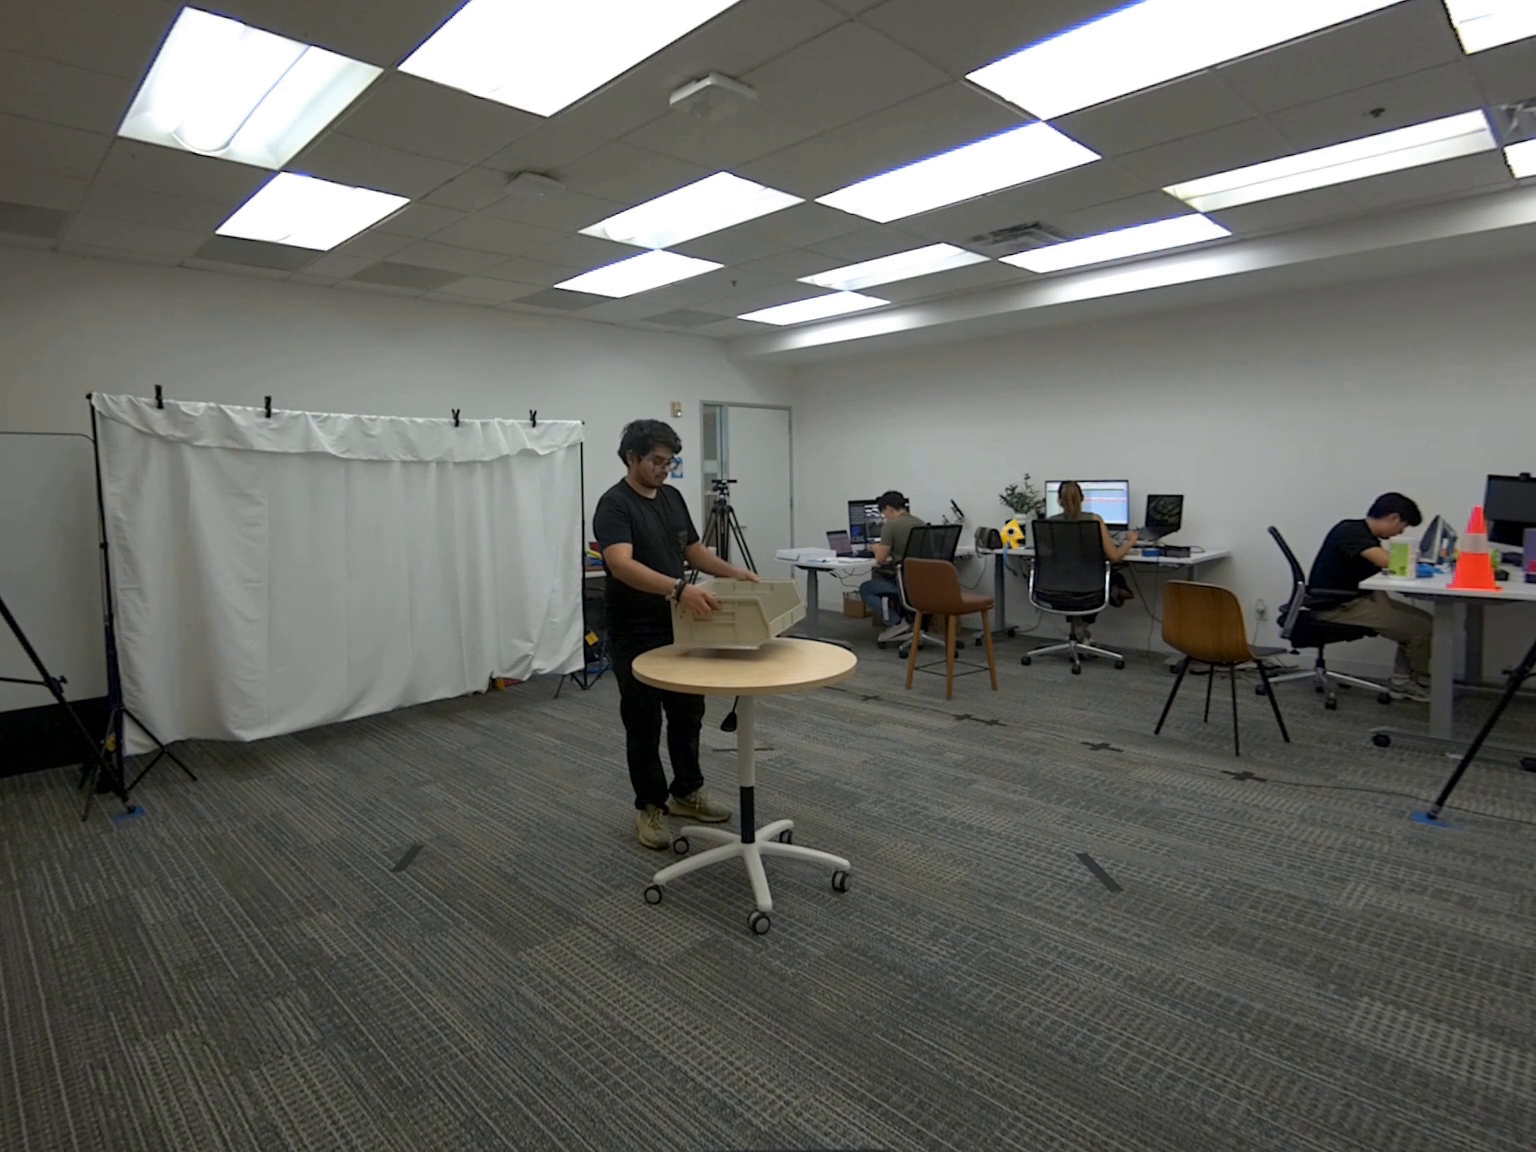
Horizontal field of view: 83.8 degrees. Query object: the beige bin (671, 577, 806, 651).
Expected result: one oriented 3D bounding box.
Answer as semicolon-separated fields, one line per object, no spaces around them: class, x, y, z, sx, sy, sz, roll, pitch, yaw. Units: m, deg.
beige bin;-0.105;0.127;3.096;0.384;0.188;0.417;-3;7;21
